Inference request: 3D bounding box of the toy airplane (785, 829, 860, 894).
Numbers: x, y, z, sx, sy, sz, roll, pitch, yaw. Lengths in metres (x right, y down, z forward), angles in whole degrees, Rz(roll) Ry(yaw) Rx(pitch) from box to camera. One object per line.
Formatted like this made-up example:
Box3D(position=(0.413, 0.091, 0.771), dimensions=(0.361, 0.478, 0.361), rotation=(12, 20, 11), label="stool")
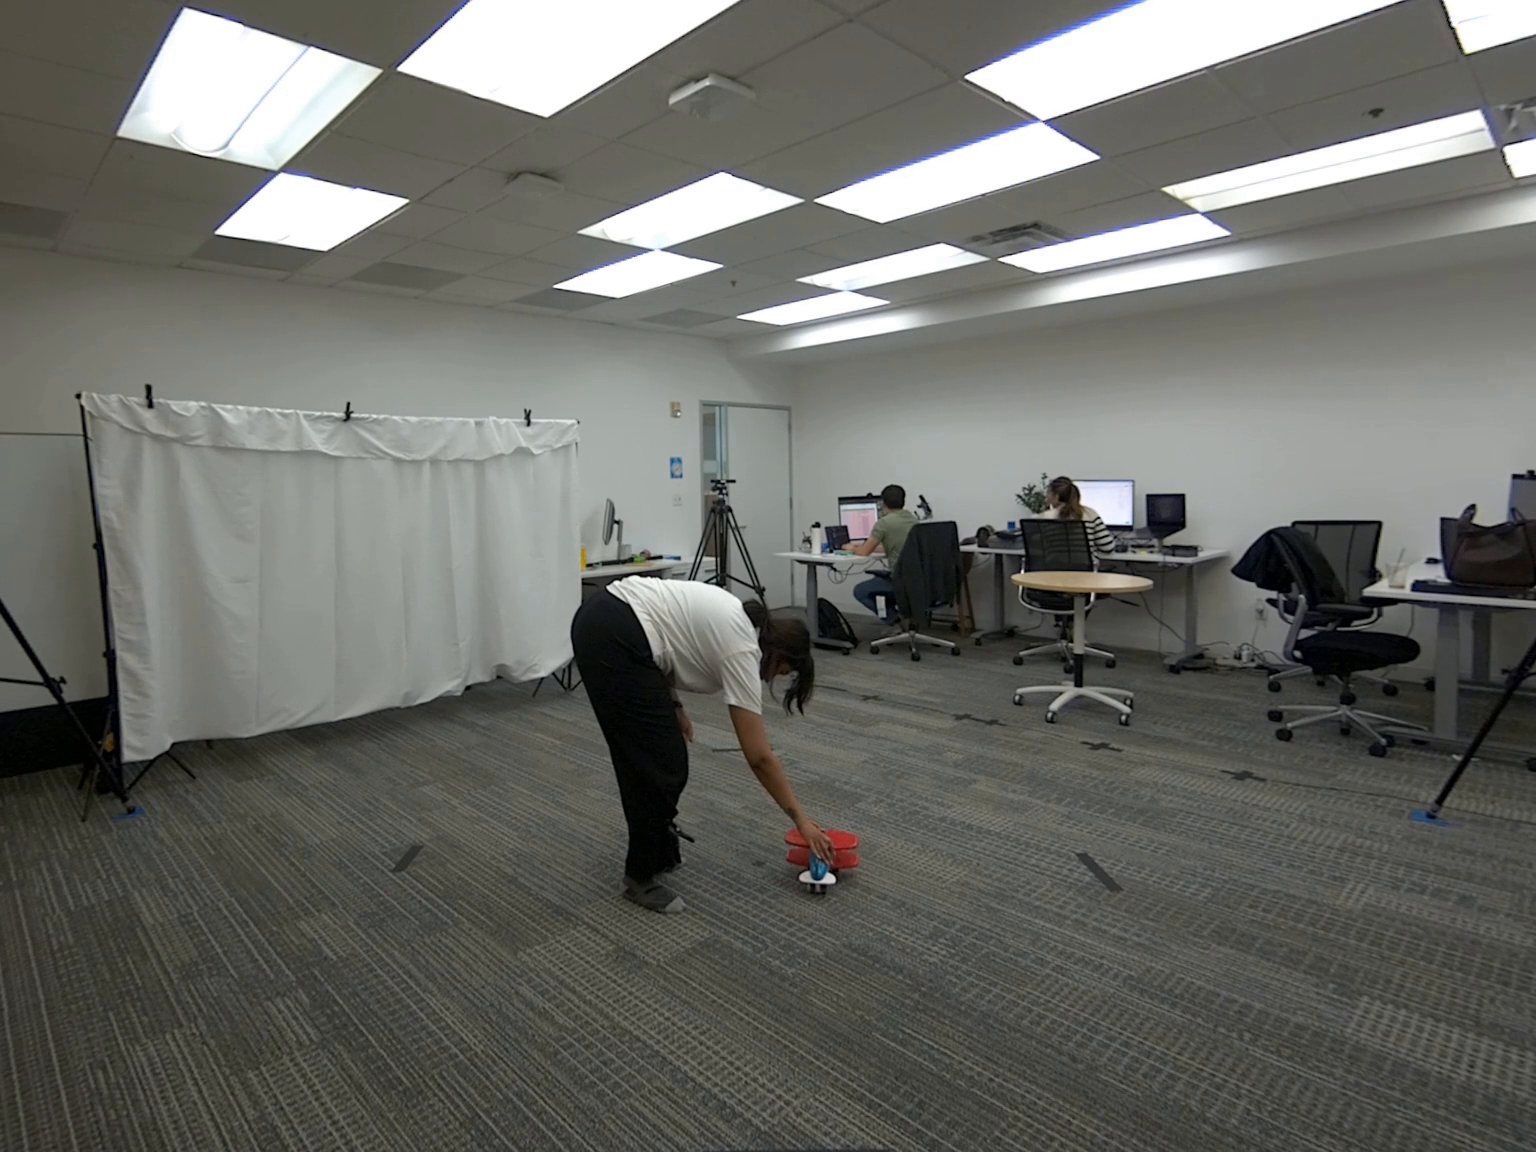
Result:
Box3D(position=(0.207, 0.984, 2.958), dimensions=(0.247, 0.156, 0.264), rotation=(-2, 5, -16), label="toy airplane")
